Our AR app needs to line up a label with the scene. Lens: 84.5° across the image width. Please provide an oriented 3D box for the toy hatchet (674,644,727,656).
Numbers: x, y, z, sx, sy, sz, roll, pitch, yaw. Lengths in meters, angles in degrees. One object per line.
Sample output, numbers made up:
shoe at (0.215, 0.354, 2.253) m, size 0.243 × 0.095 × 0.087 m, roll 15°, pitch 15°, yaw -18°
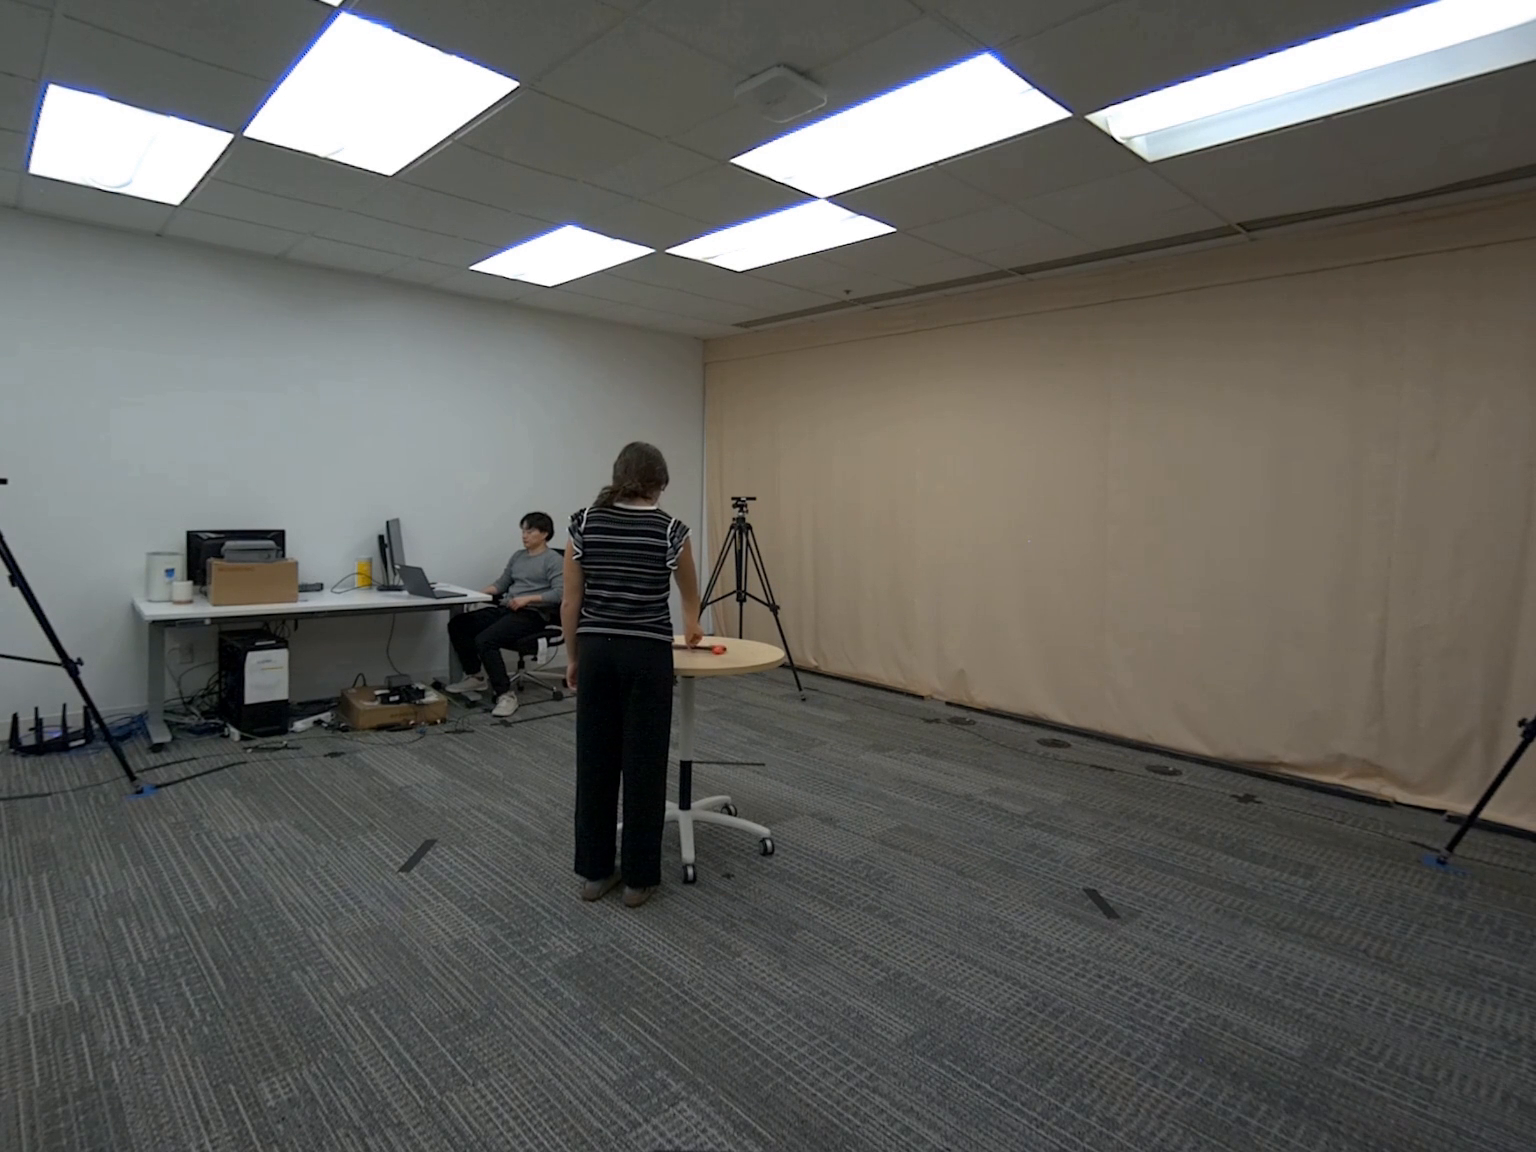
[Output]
toy hatchet at (-0.303, 0.284, 3.371) m, size 0.276 × 0.029 × 0.128 m, roll 4°, pitch 4°, yaw 30°
